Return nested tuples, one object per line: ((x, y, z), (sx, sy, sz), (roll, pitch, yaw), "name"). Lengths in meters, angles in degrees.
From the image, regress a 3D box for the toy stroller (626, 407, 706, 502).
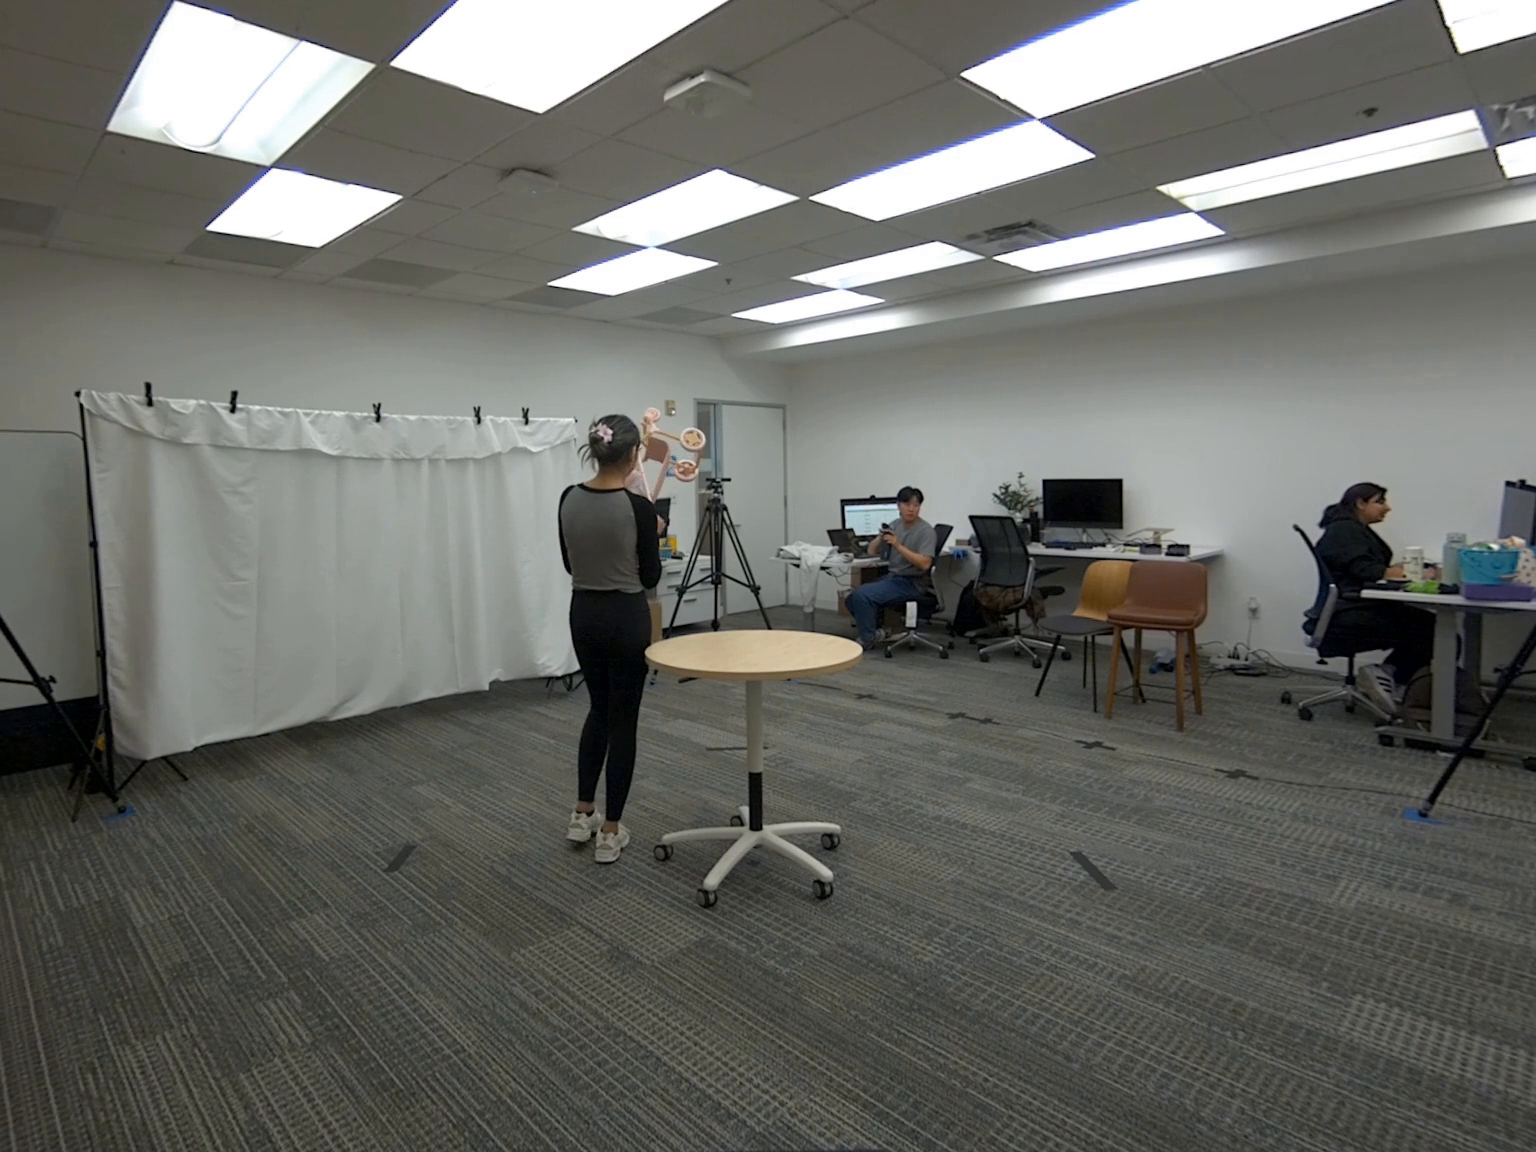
((-0.493, -0.446, 3.595), (0.342, 0.538, 0.279), (32, -27, 0), "toy stroller")
